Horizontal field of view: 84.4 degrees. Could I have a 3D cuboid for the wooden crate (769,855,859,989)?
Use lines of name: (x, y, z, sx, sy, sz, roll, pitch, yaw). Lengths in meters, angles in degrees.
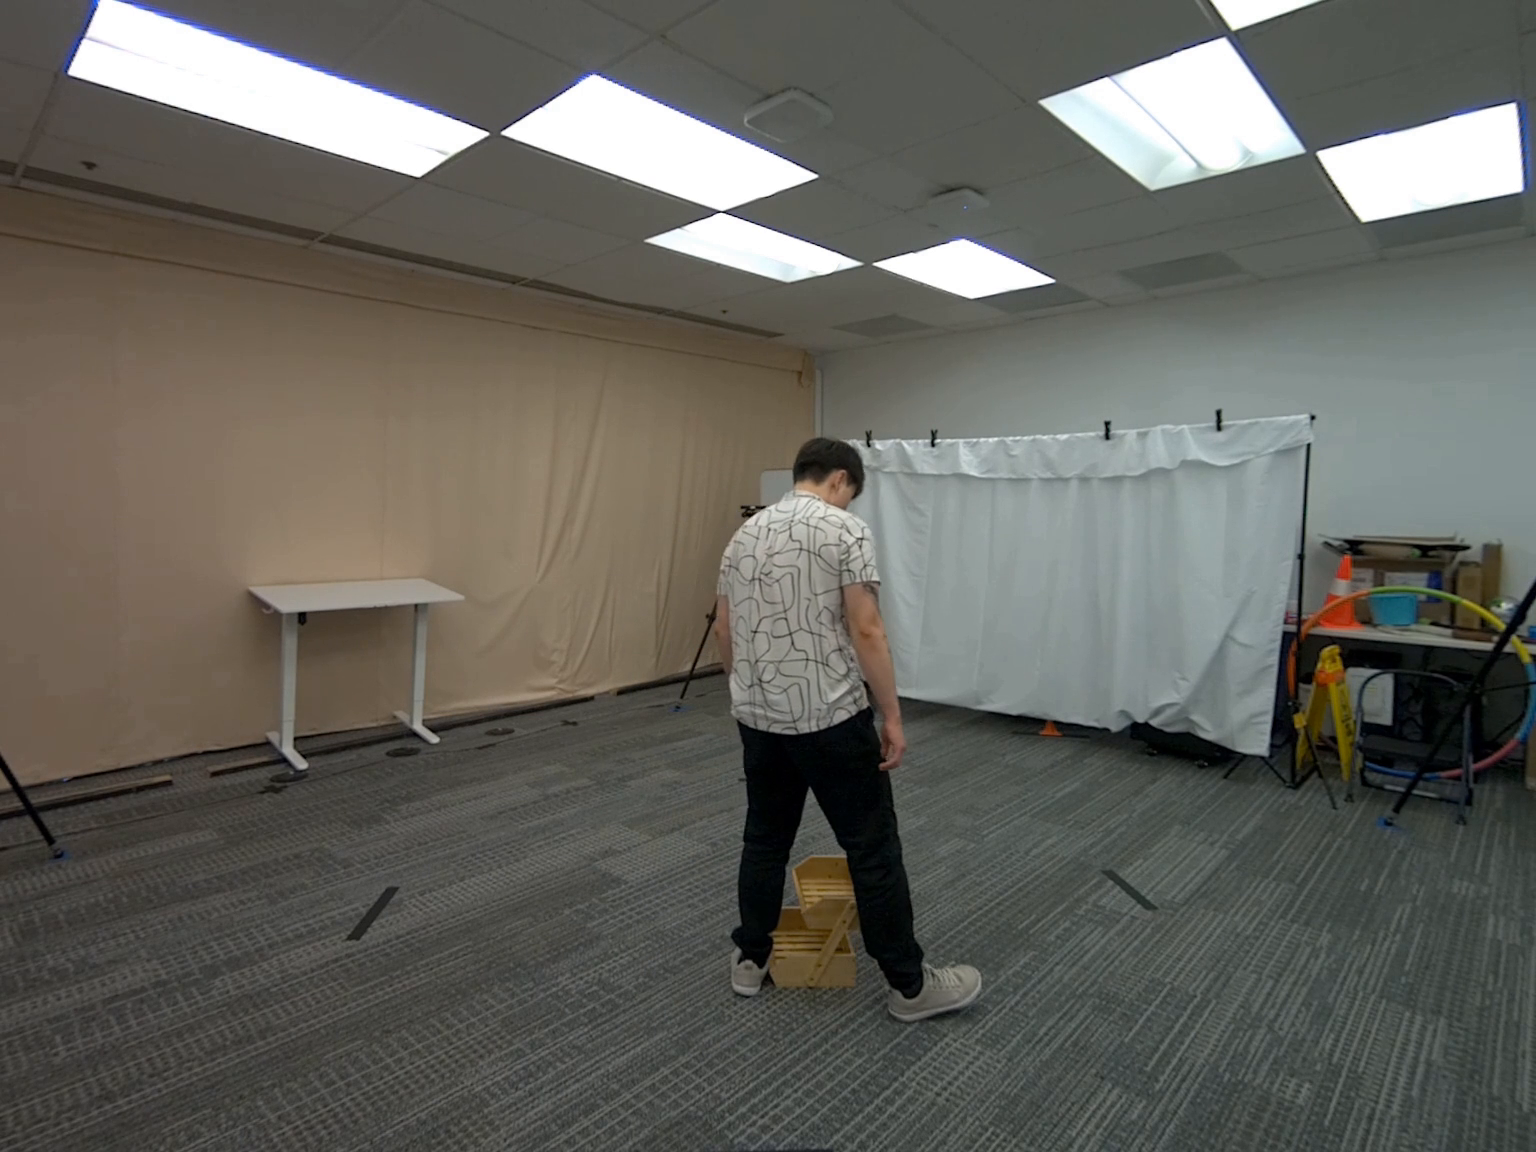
wooden crate: (0.147, 1.046, 2.573, 0.301, 0.272, 0.326, 0, 4, -4)
